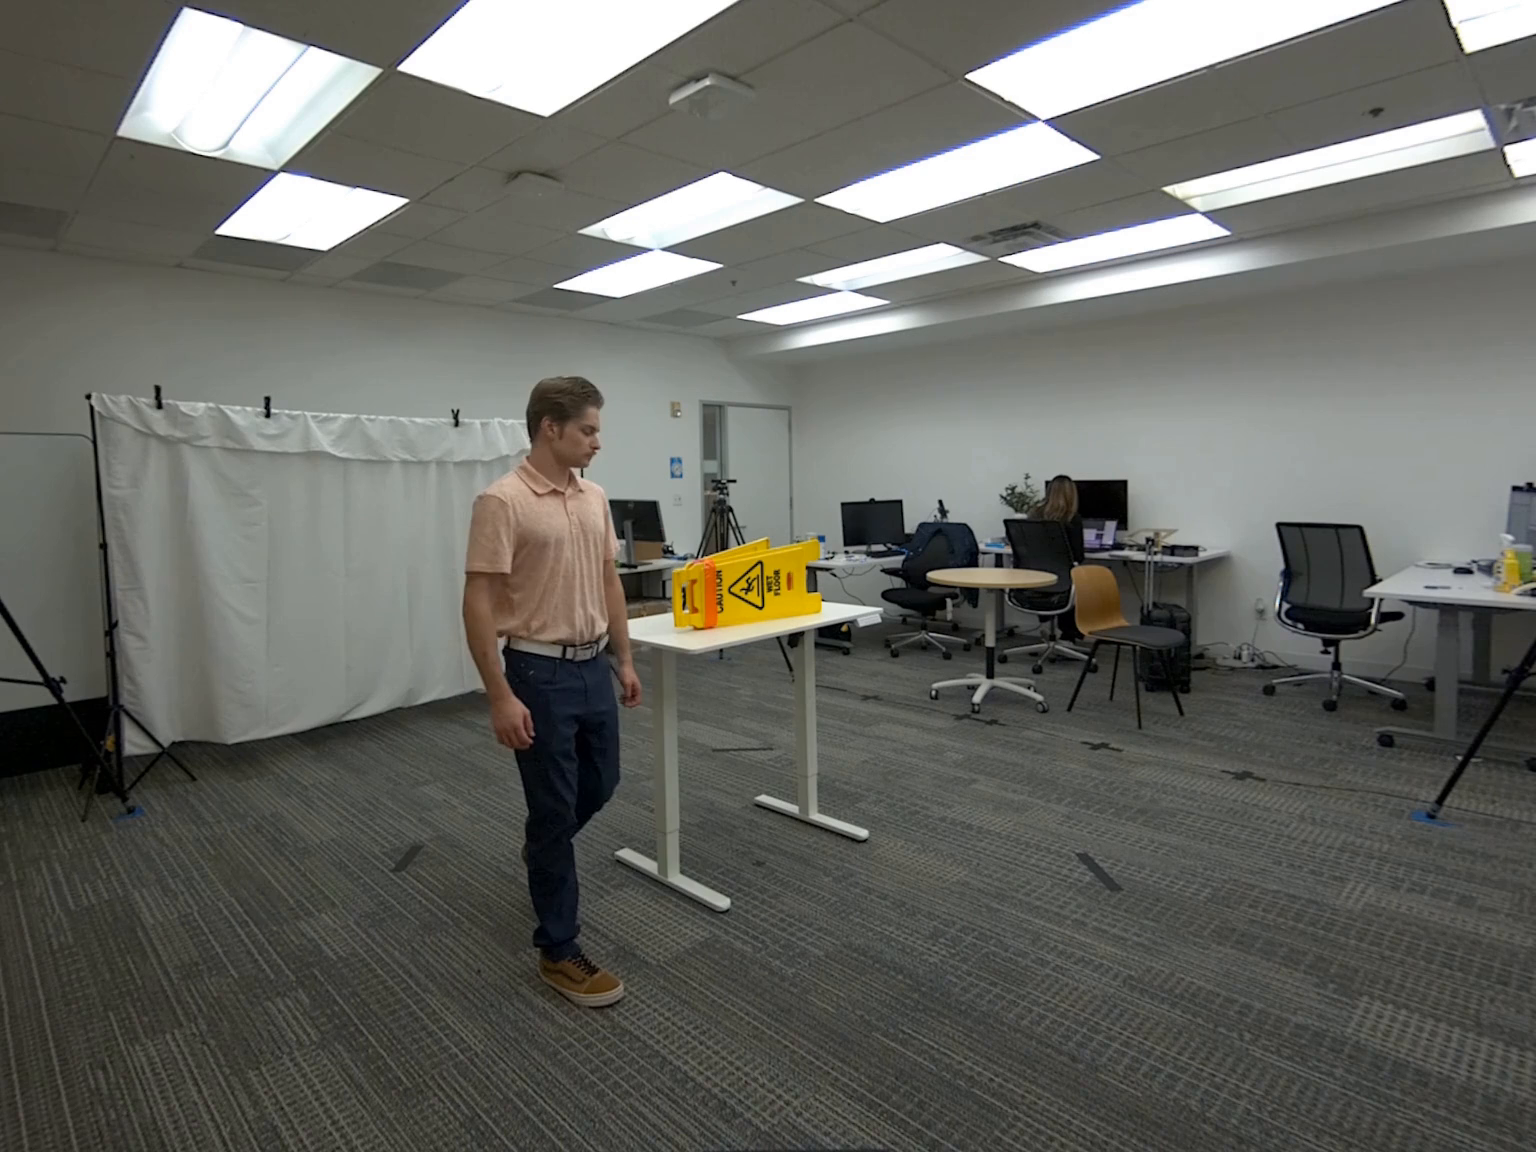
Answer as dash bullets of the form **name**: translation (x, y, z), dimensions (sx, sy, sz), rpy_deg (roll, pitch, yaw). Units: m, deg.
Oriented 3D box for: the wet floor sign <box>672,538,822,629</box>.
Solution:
- **wet floor sign**: translation (-0.109, 0.040, 3.108), dimensions (0.299, 0.280, 0.630), rpy_deg (4, 10, 42)
